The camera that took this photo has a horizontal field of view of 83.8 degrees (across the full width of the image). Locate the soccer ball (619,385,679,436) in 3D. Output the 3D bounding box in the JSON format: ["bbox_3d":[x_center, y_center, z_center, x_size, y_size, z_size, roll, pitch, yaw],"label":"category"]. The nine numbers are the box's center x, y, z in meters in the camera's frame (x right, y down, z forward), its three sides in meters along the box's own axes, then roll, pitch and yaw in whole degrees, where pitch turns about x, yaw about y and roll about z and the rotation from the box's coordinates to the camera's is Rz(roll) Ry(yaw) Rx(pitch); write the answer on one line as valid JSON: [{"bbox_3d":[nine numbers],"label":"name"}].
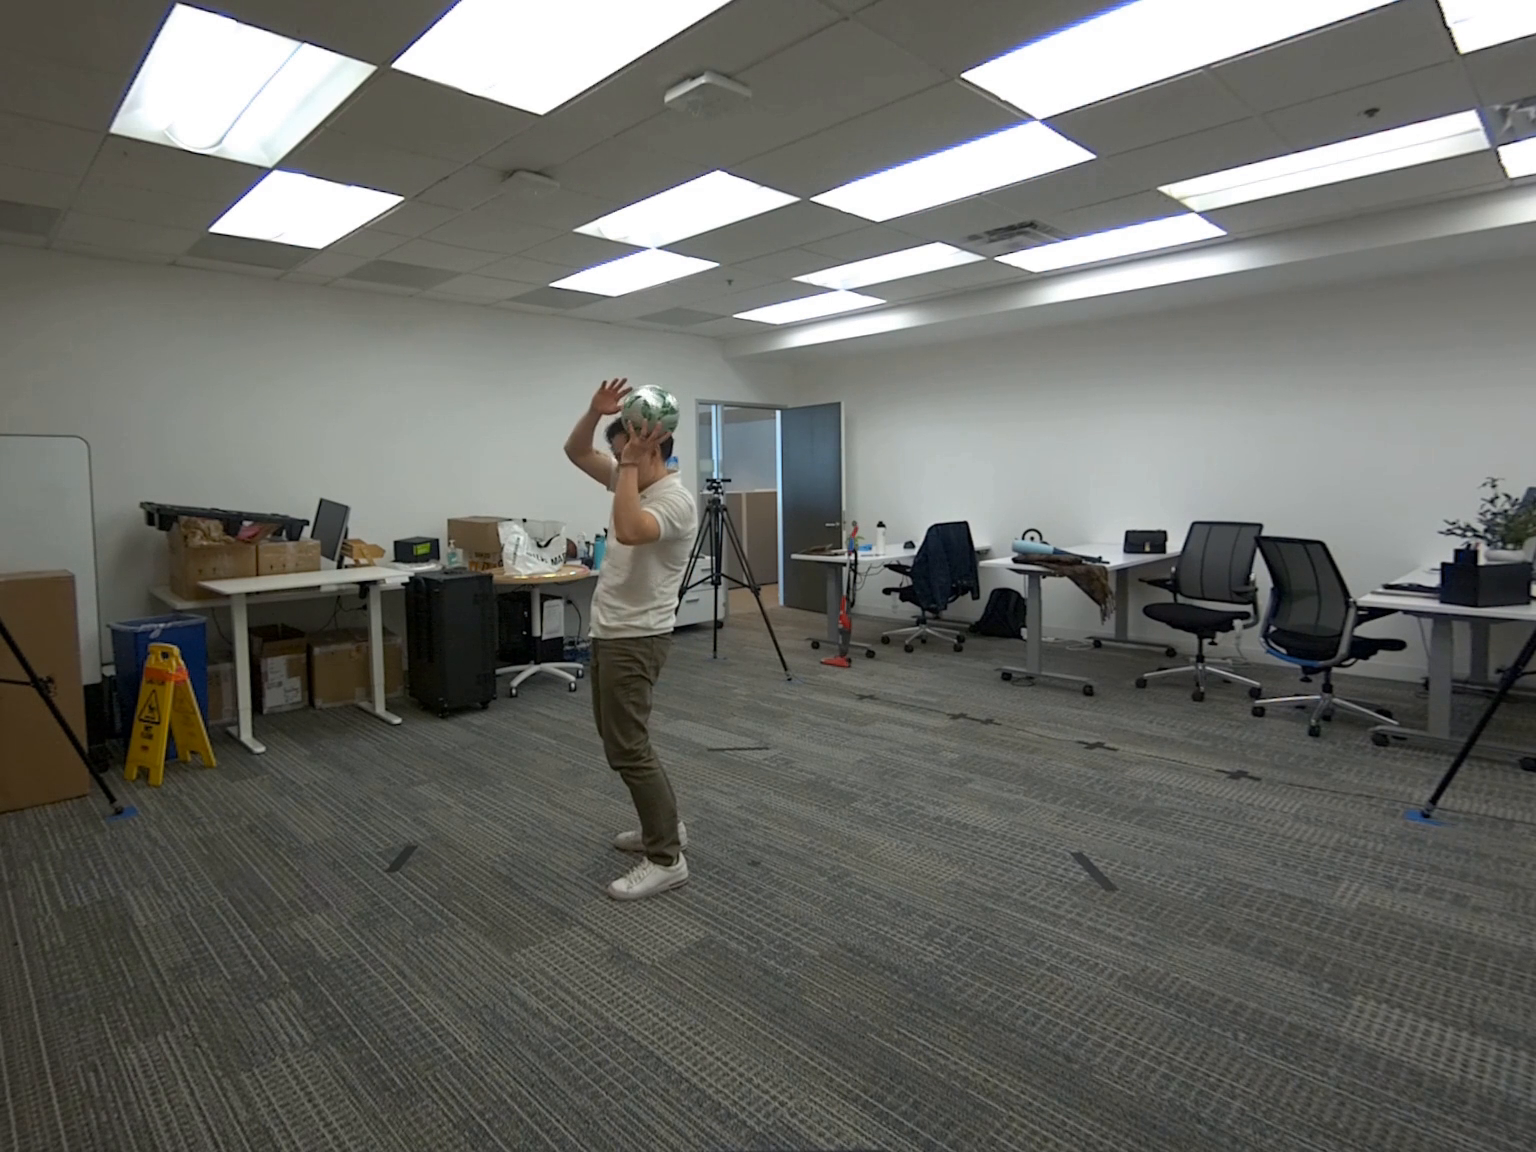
[{"bbox_3d":[-0.388,-0.517,2.766,0.187,0.187,0.188,-1,5,-2],"label":"soccer ball"}]
